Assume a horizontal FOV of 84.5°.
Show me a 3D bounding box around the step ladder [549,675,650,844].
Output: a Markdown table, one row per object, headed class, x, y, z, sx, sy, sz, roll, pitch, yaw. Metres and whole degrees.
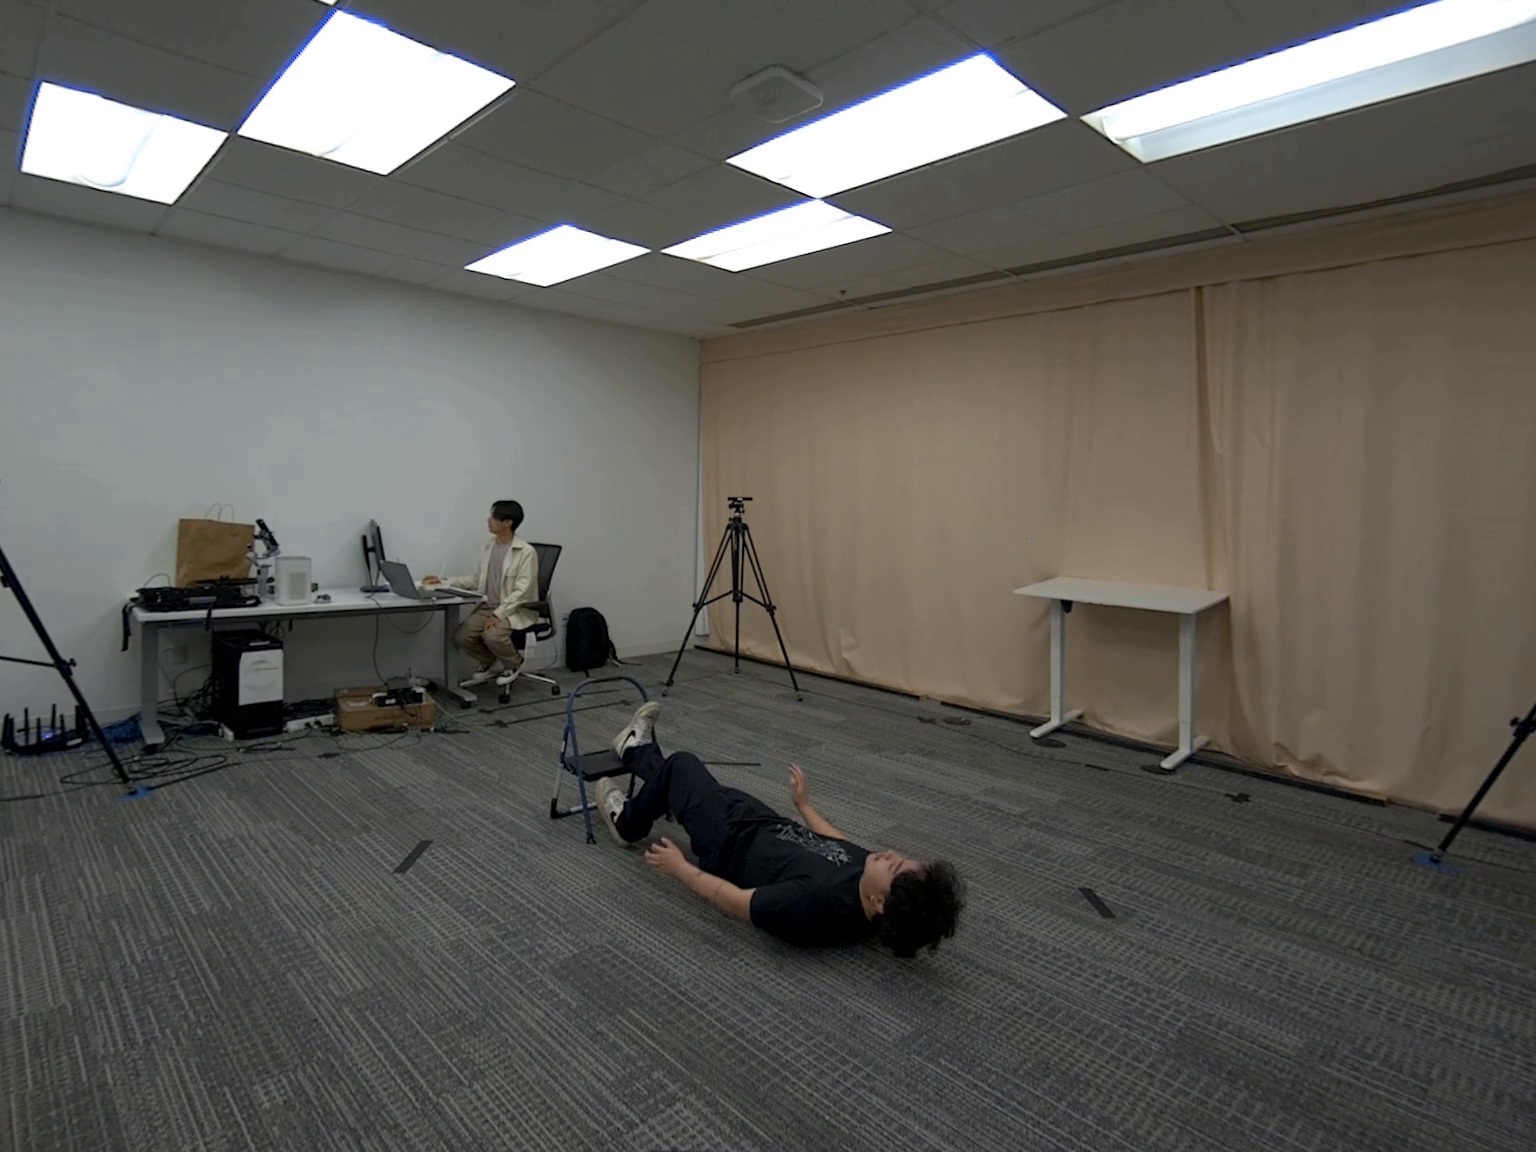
| class | x | y | z | sx | sy | sz | roll | pitch | yaw |
| --- | --- | --- | --- | --- | --- | --- | --- | --- | --- |
| step ladder | -0.676 | 0.750 | 3.618 | 0.421 | 0.605 | 0.358 | -2 | 5 | -43 |
